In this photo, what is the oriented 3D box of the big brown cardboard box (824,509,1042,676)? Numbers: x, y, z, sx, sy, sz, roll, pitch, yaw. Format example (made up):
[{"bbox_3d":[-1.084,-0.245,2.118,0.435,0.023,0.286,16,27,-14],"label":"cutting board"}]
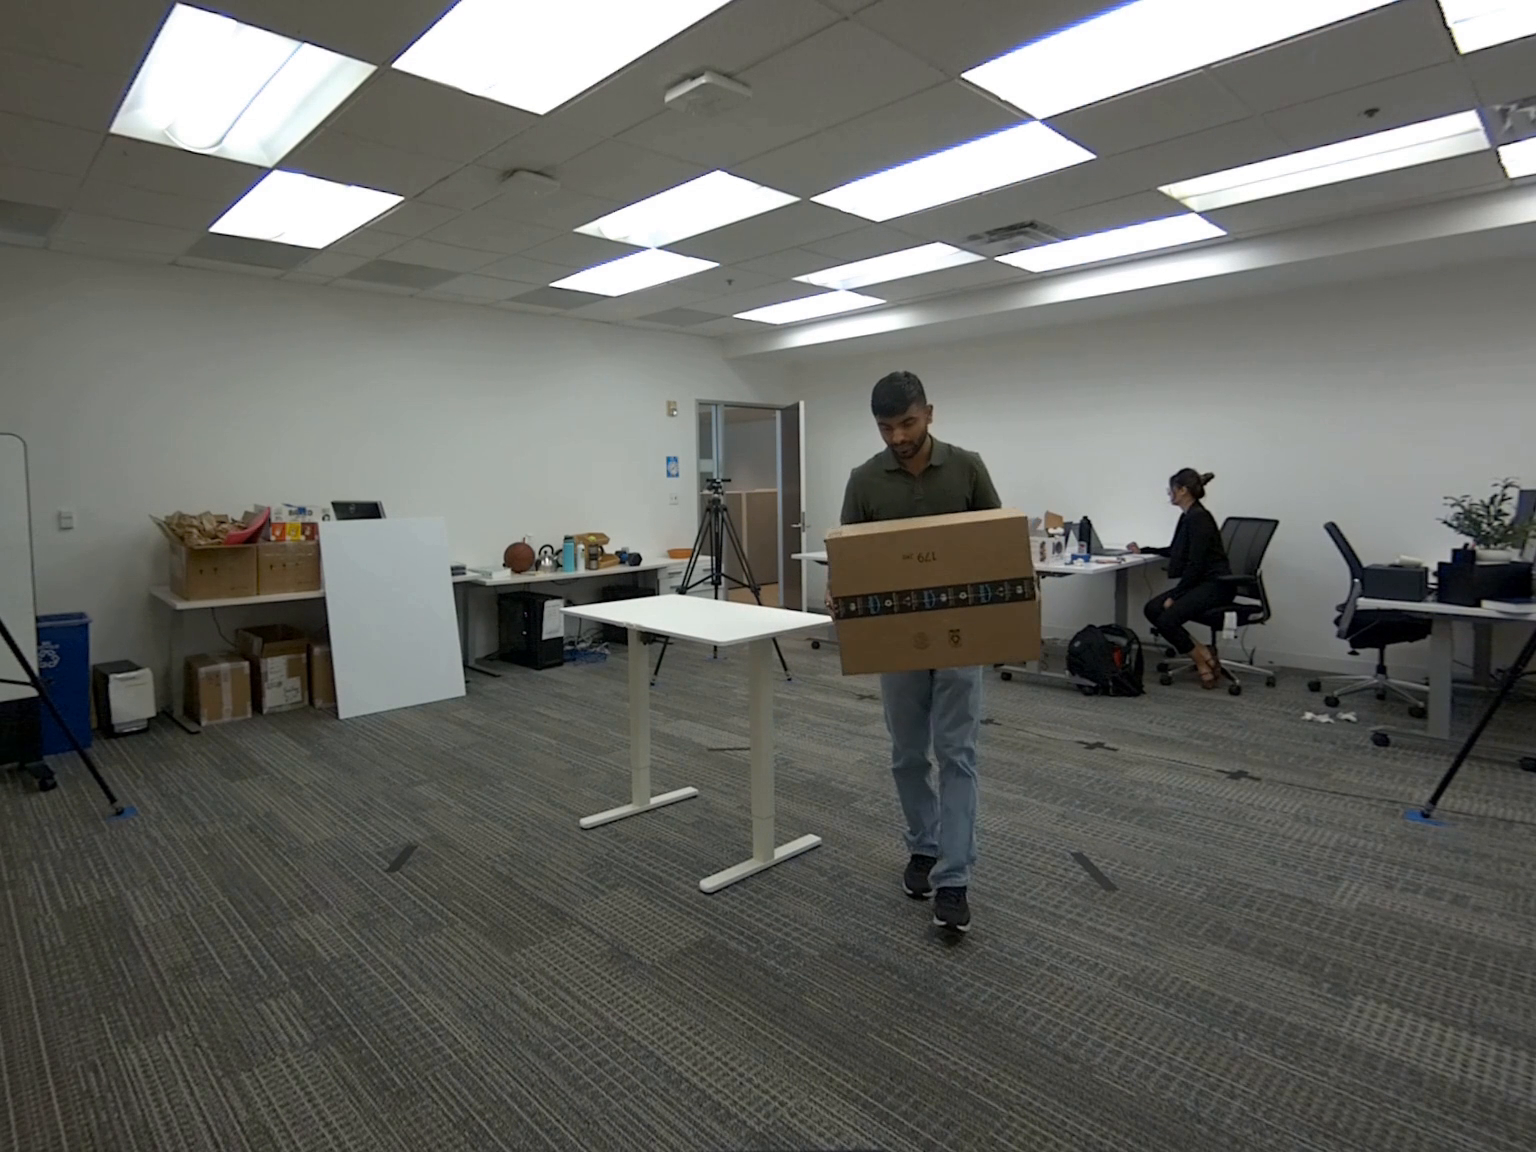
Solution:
[{"bbox_3d":[0.469,0.048,2.527,0.595,0.414,0.232,-5,8,11],"label":"big brown cardboard box"}]
